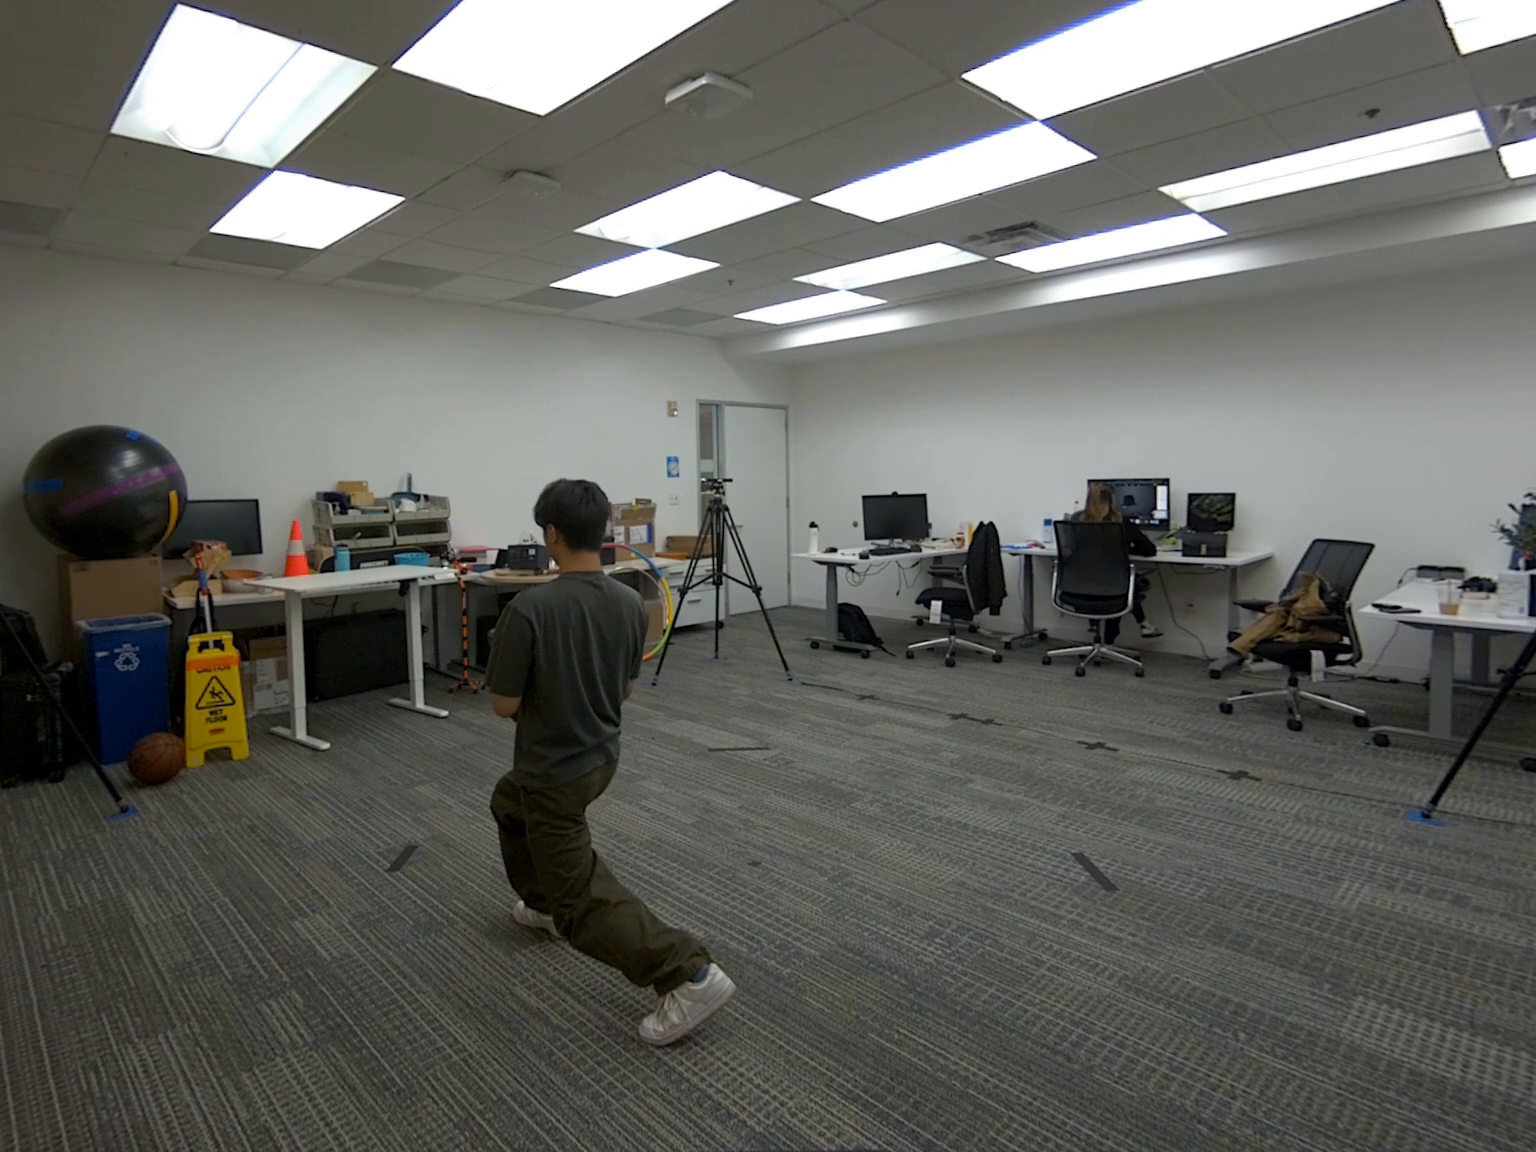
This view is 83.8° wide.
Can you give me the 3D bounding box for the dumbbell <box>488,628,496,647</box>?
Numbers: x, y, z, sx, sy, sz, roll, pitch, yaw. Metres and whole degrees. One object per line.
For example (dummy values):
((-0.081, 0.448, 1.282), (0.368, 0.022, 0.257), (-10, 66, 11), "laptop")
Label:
((-0.763, 0.287, 2.607), (0.124, 0.291, 0.109), (-10, 8, 6), "dumbbell")
